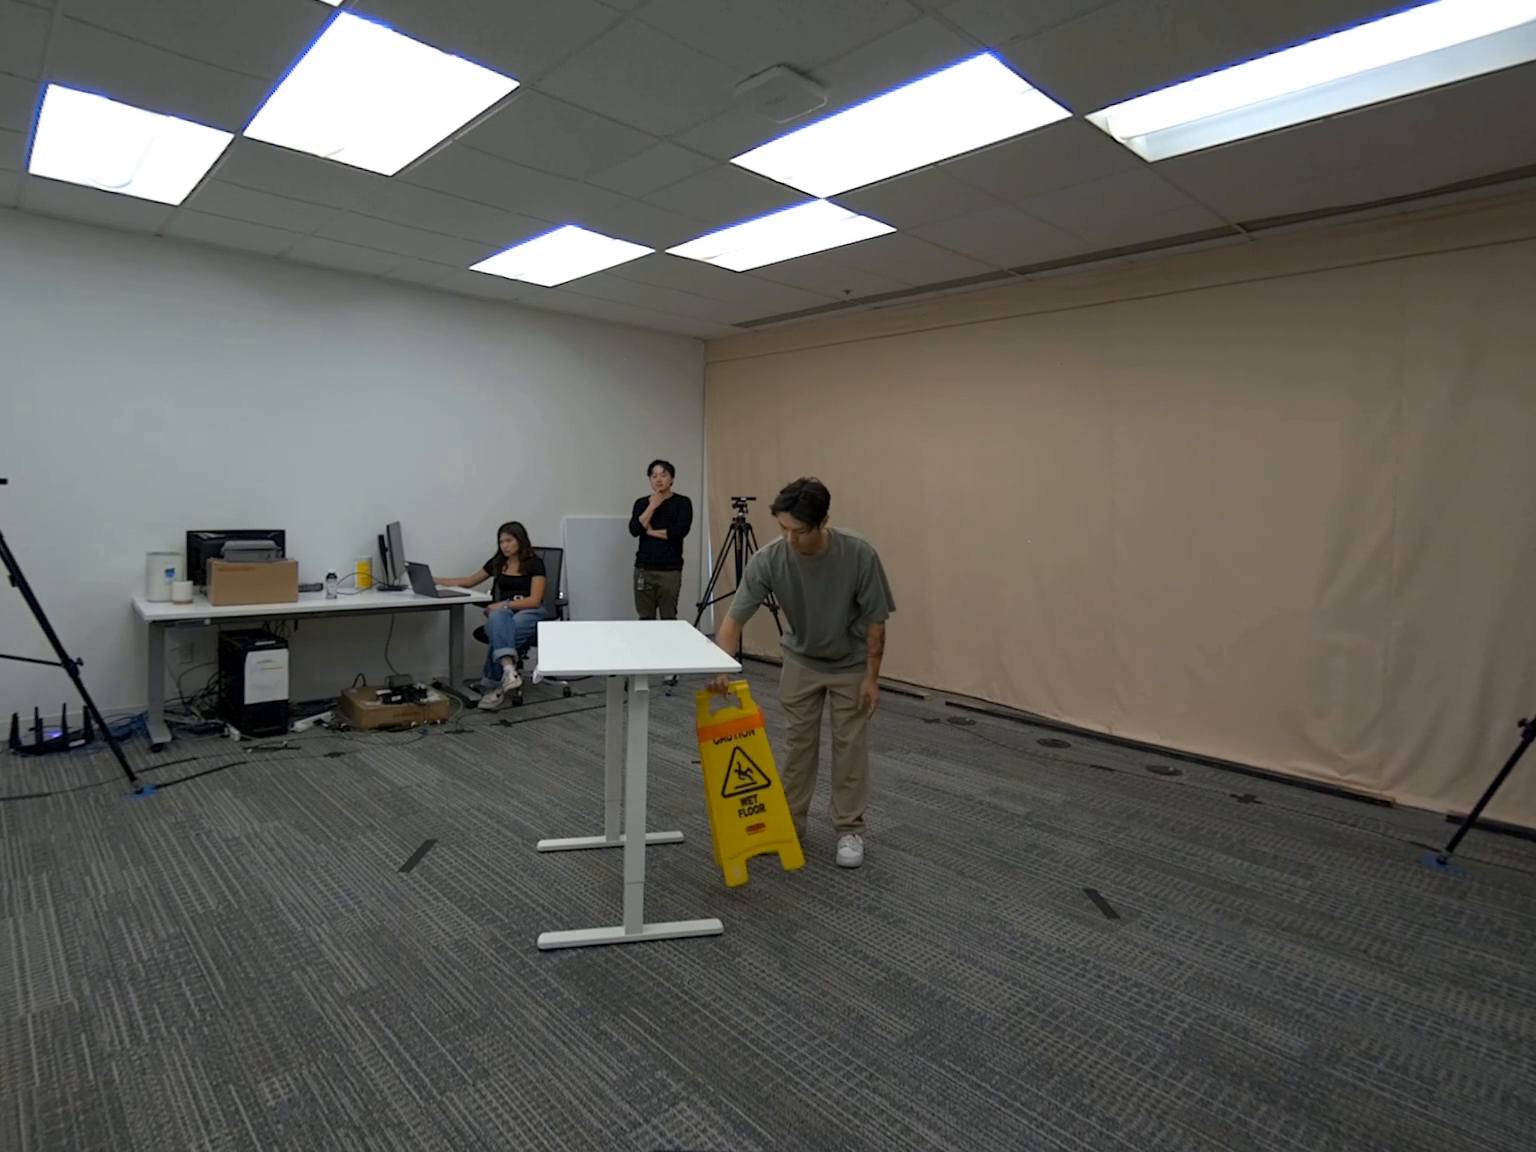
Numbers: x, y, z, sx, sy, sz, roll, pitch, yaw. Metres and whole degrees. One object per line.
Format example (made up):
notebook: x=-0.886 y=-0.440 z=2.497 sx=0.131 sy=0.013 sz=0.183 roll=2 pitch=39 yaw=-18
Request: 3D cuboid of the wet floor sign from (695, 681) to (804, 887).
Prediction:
wet floor sign: x=-0.119 y=0.707 z=2.995 sx=0.280 sy=0.647 sz=0.291 roll=-12 pitch=-1 yaw=-10
